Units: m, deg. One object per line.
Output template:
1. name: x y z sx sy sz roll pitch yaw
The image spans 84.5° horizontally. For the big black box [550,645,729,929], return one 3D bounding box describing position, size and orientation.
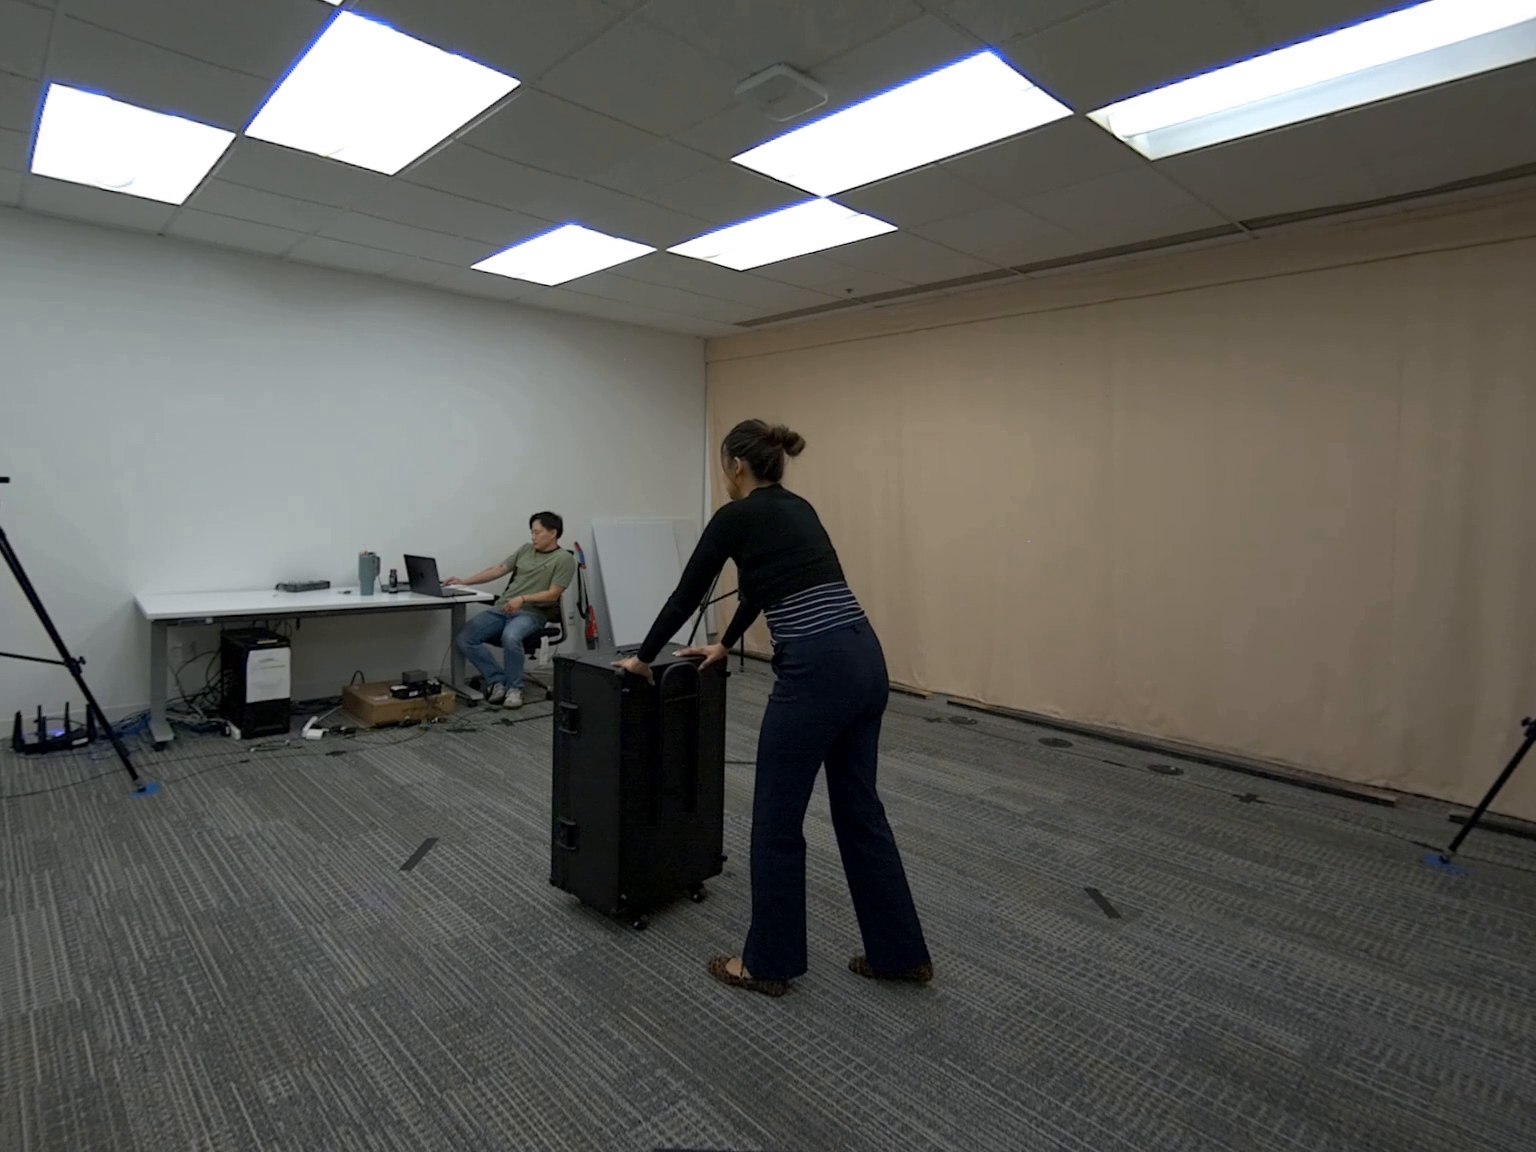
1. big black box: -0.434 0.690 2.879 0.406 0.859 0.509 4 4 41
